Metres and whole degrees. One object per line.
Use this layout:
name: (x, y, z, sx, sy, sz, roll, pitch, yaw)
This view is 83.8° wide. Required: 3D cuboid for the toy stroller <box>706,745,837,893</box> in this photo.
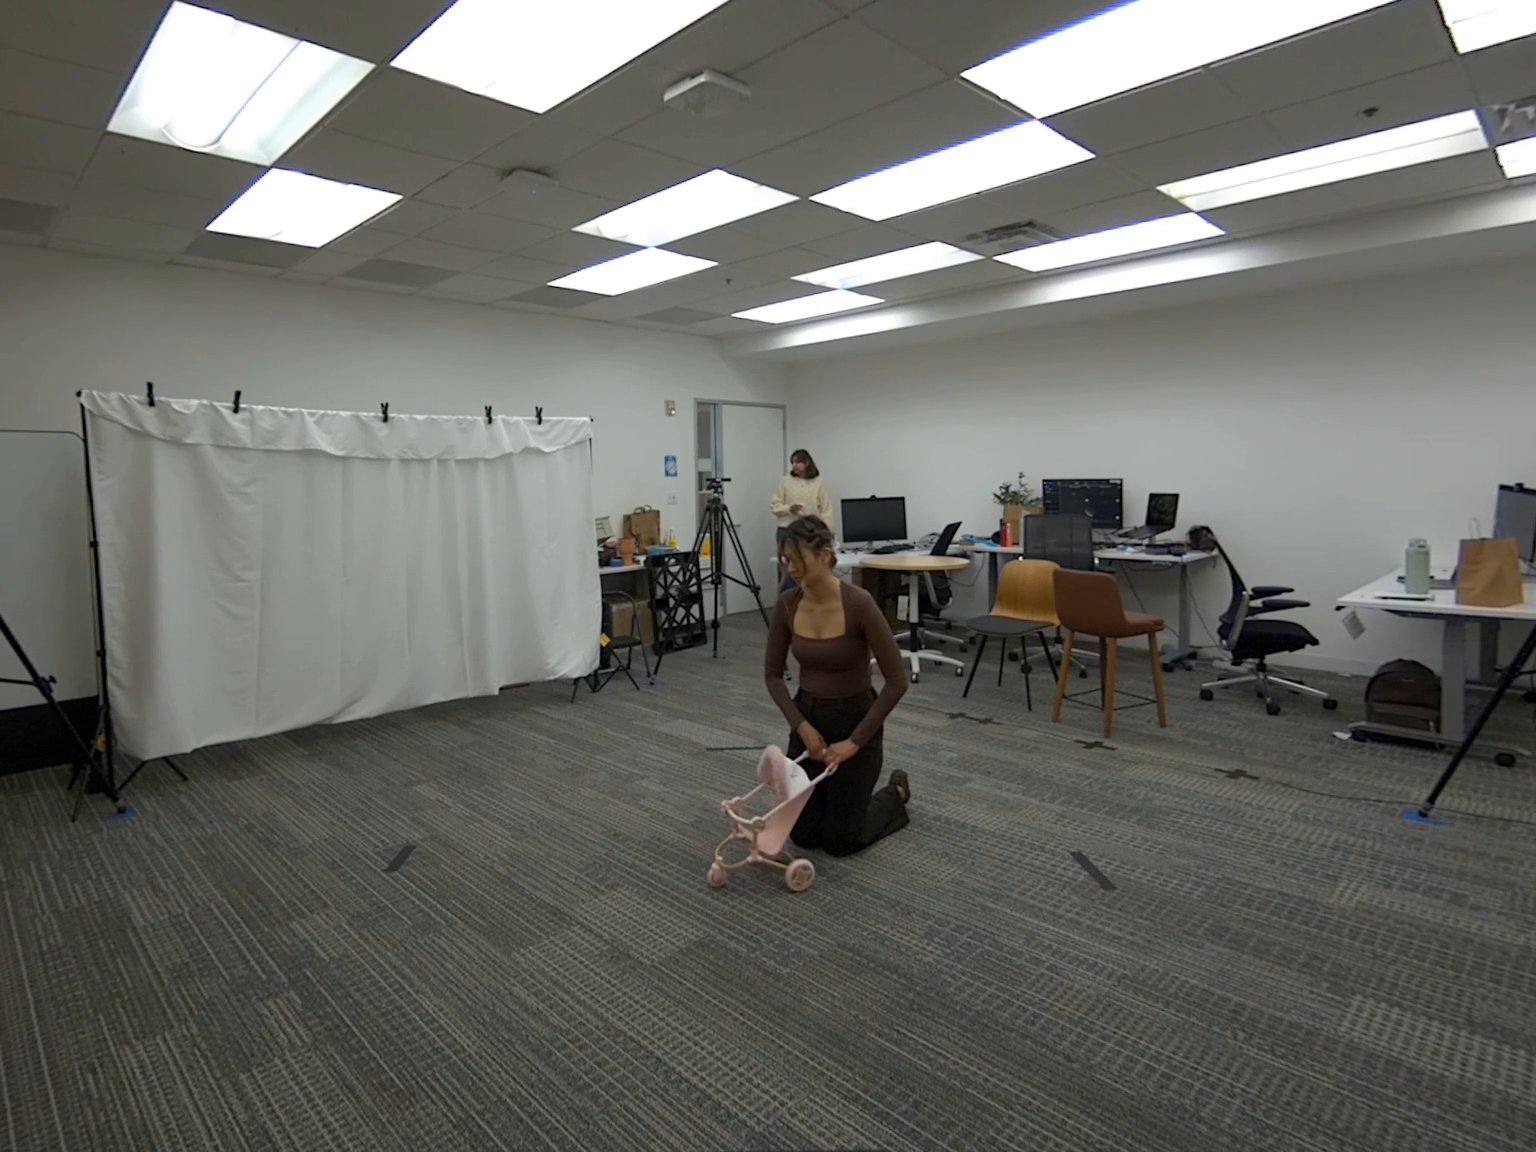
toy stroller: (0.003, 0.832, 2.972, 0.335, 0.535, 0.286, 16, 0, -16)
